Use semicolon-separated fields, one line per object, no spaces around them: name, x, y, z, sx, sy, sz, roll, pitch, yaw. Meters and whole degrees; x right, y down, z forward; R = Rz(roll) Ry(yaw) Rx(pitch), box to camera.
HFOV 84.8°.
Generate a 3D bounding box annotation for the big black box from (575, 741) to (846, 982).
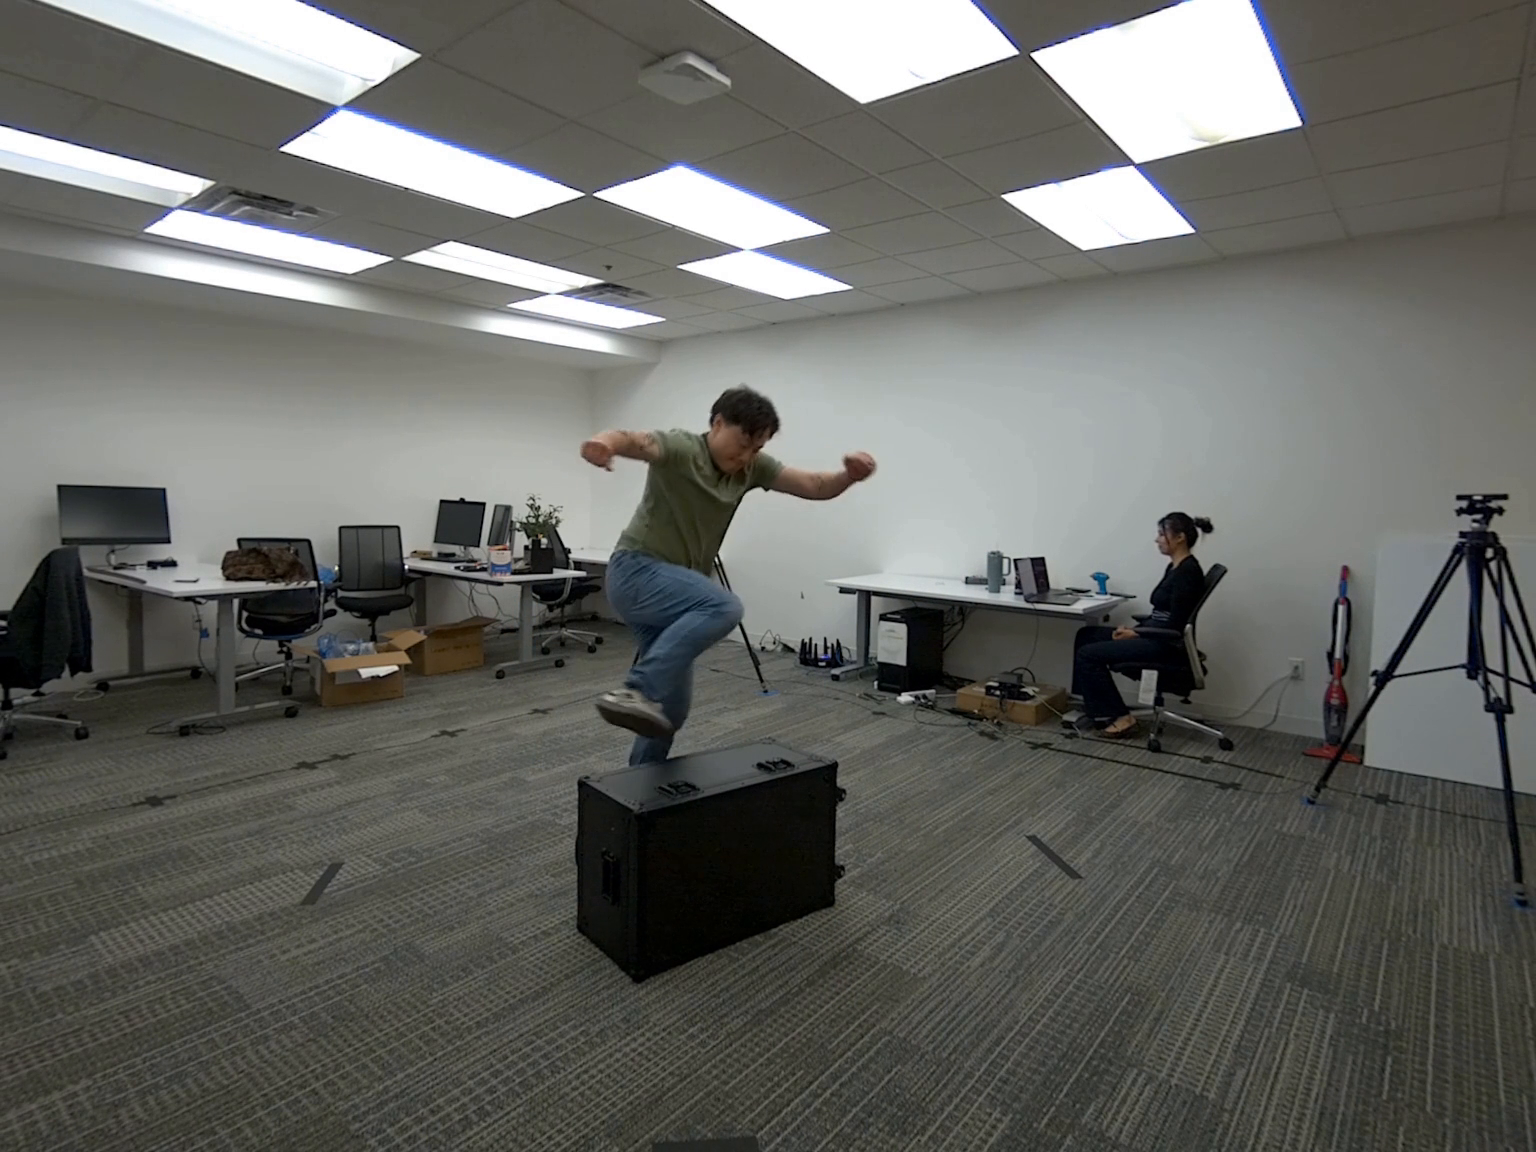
big black box;-0.172;0.858;2.765;0.836;0.520;0.409;-2;5;-38
